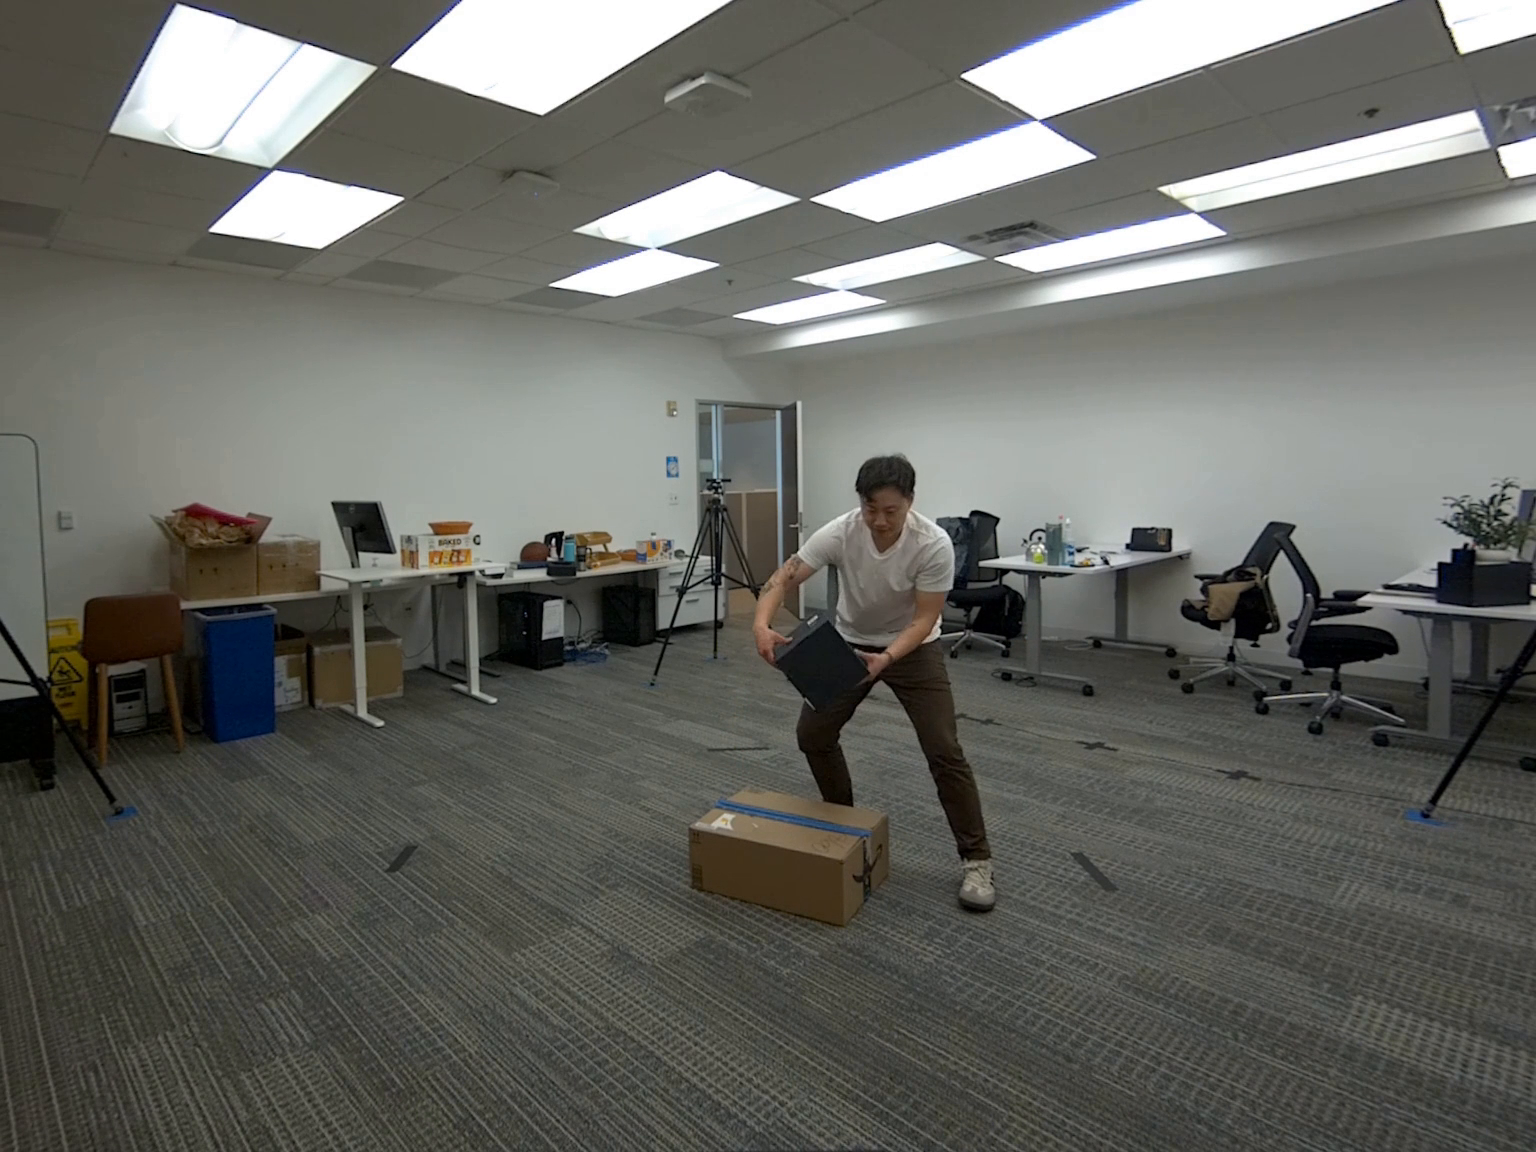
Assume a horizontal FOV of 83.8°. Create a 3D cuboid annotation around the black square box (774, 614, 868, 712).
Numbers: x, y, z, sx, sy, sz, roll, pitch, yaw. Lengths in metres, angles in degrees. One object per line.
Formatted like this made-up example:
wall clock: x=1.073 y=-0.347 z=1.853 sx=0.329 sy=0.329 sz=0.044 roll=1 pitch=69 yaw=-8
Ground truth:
black square box: x=0.166 y=0.274 z=2.762 sx=0.217 sy=0.226 sz=0.157 roll=-38 pitch=5 yaw=2
